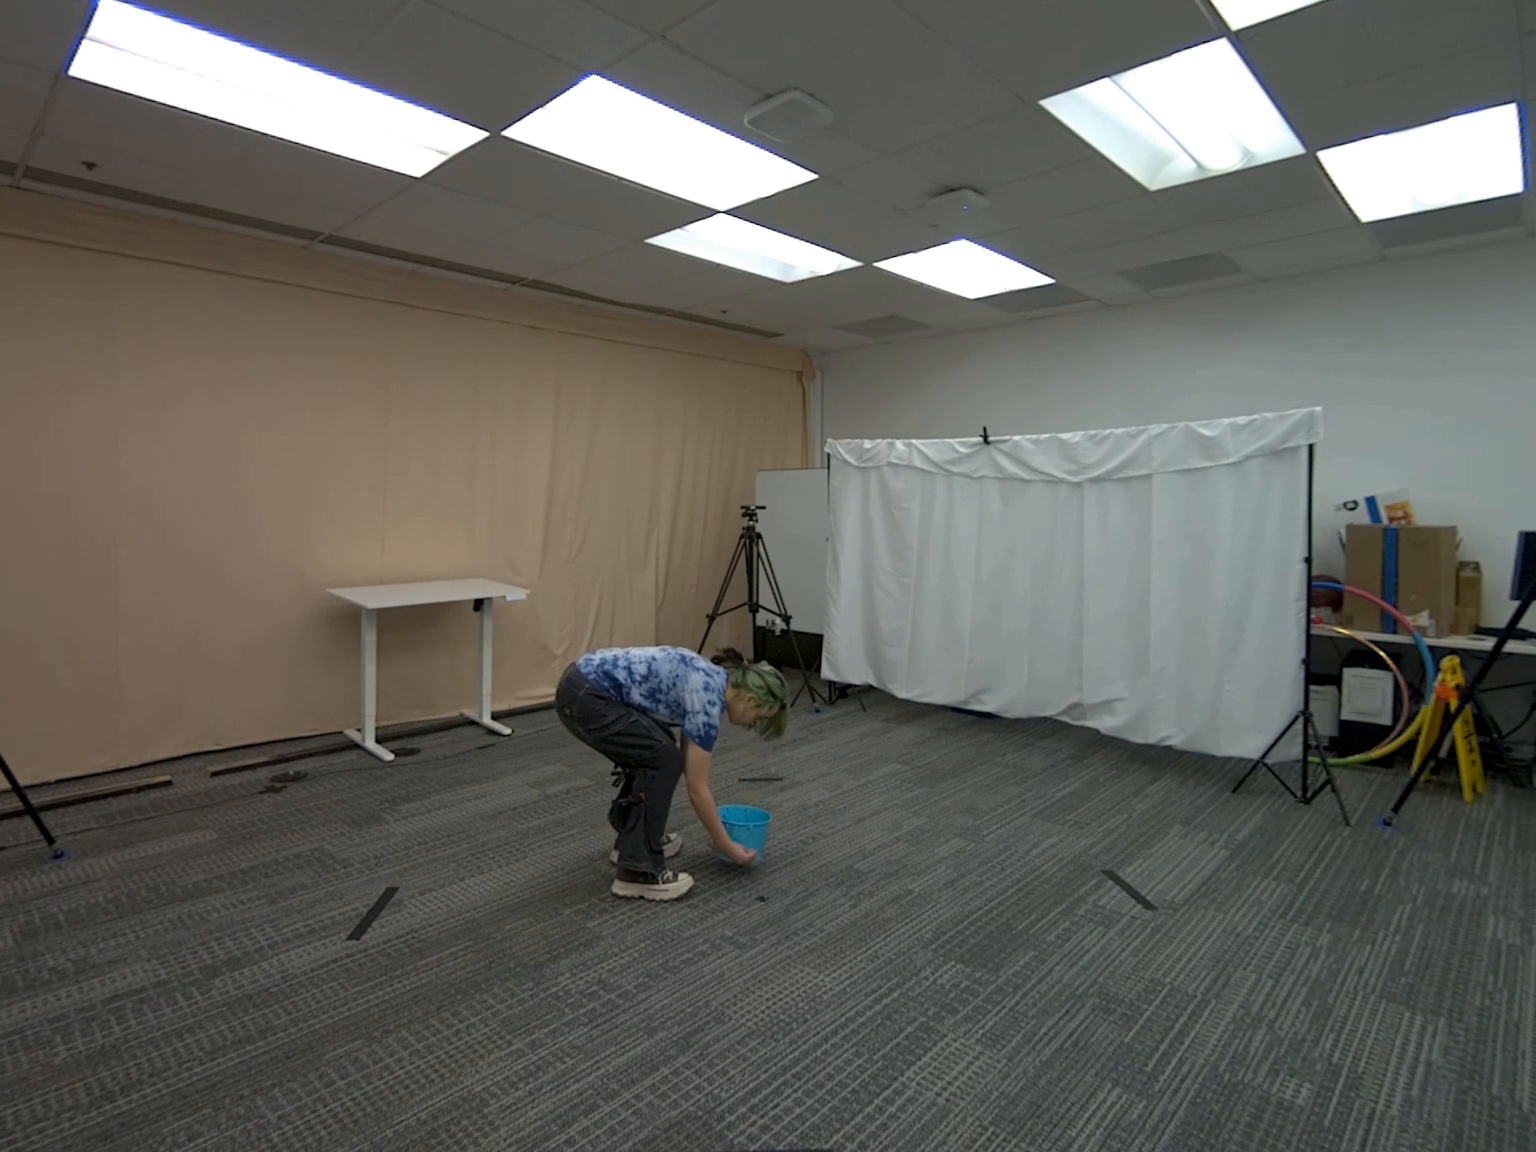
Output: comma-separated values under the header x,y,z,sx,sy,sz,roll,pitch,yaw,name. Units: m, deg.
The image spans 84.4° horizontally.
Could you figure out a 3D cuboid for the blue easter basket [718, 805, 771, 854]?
x,y,z,sx,sy,sz,roll,pitch,yaw,name
-0.106,0.981,3.229,0.243,0.156,0.244,4,1,-2,blue easter basket
